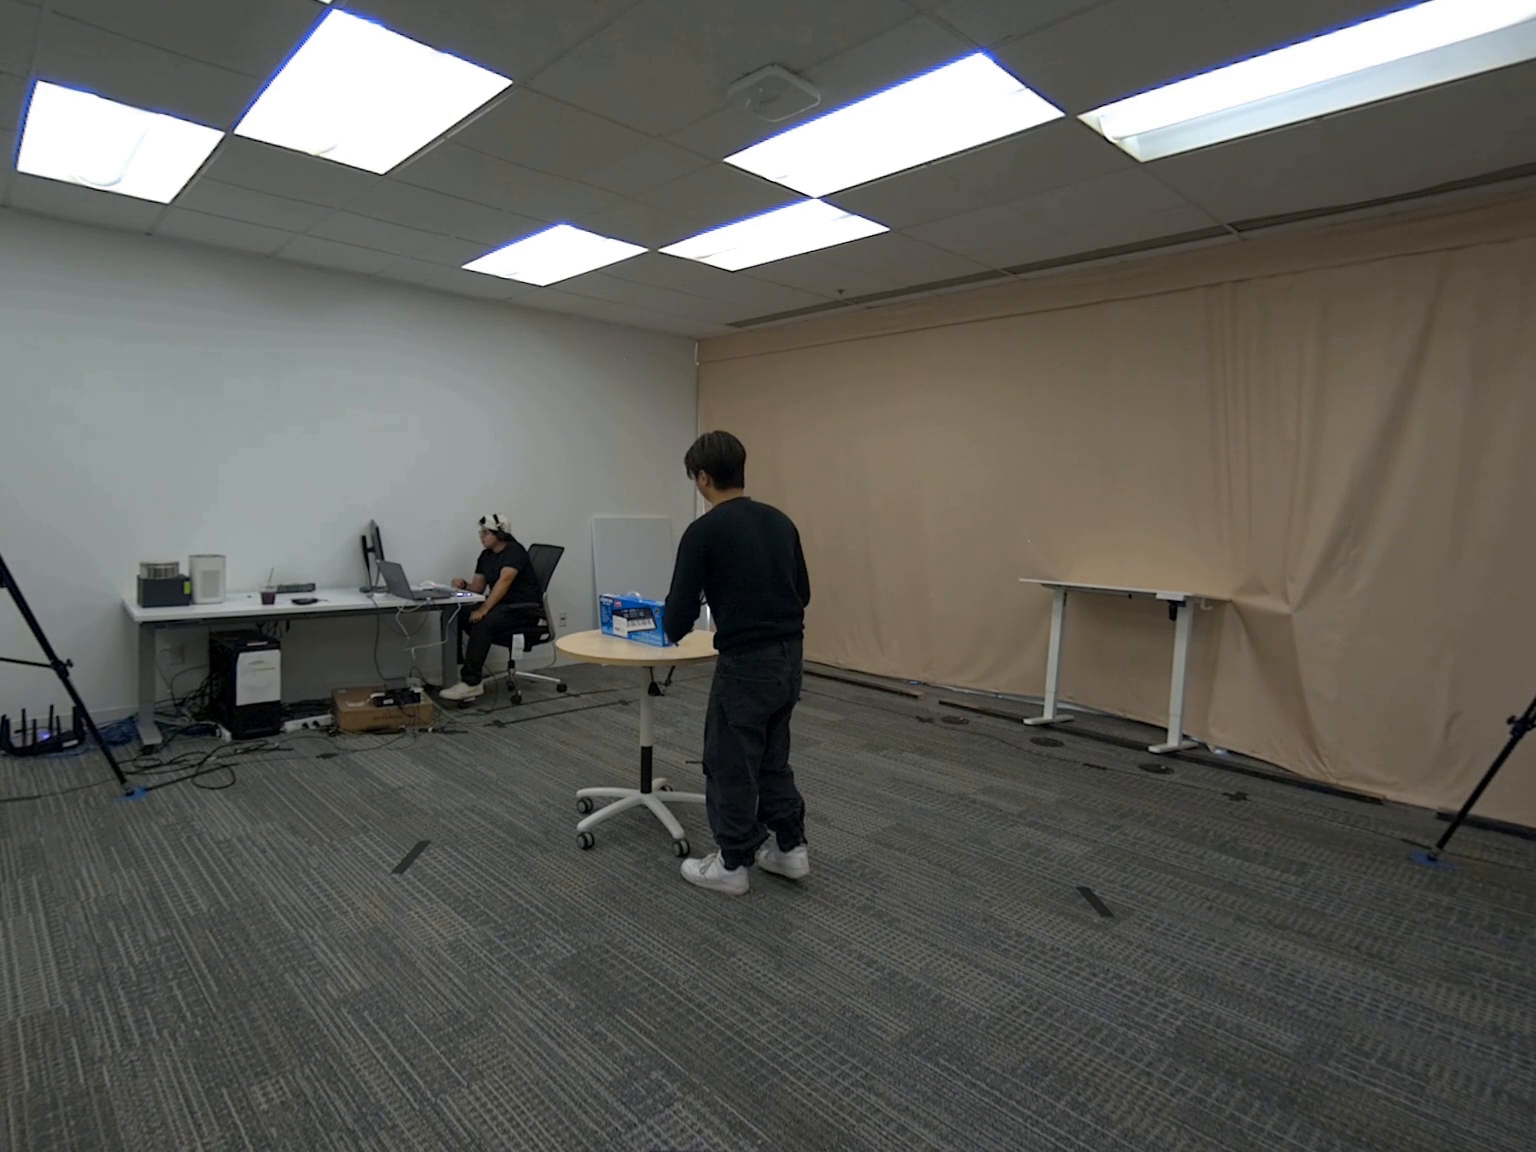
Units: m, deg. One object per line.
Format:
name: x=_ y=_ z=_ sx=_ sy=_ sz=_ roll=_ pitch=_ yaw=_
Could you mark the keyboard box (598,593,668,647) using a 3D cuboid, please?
keyboard box: x=-0.575 y=0.185 z=3.585 sx=0.058 sy=0.175 sz=0.448 roll=-8 pitch=10 yaw=-44
